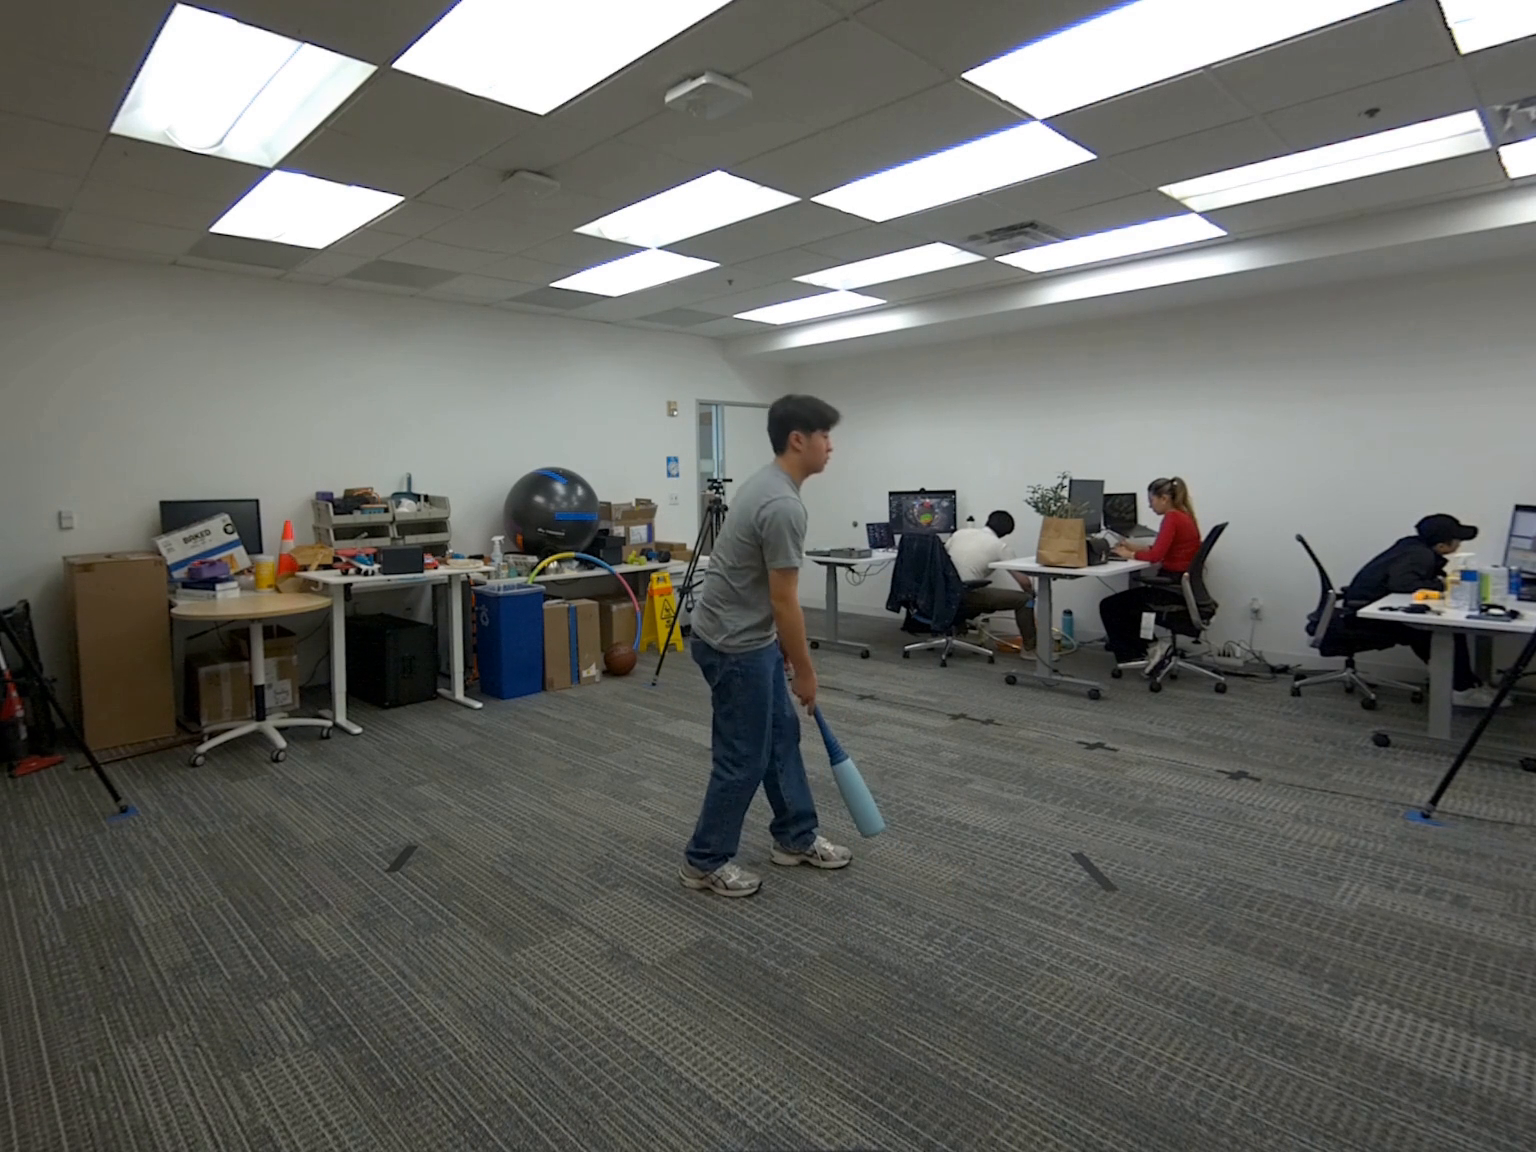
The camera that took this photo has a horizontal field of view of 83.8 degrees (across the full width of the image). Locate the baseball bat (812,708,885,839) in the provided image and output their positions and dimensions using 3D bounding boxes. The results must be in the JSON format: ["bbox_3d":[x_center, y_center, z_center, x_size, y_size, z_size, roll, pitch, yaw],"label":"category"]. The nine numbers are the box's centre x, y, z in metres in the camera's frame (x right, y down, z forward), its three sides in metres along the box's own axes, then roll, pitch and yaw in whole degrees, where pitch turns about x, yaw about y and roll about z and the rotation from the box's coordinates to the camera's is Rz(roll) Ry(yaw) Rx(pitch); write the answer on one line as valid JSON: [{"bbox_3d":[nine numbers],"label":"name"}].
[{"bbox_3d":[0.229,0.603,2.816,0.089,0.551,0.088,-24,-12,-6],"label":"baseball bat"}]
